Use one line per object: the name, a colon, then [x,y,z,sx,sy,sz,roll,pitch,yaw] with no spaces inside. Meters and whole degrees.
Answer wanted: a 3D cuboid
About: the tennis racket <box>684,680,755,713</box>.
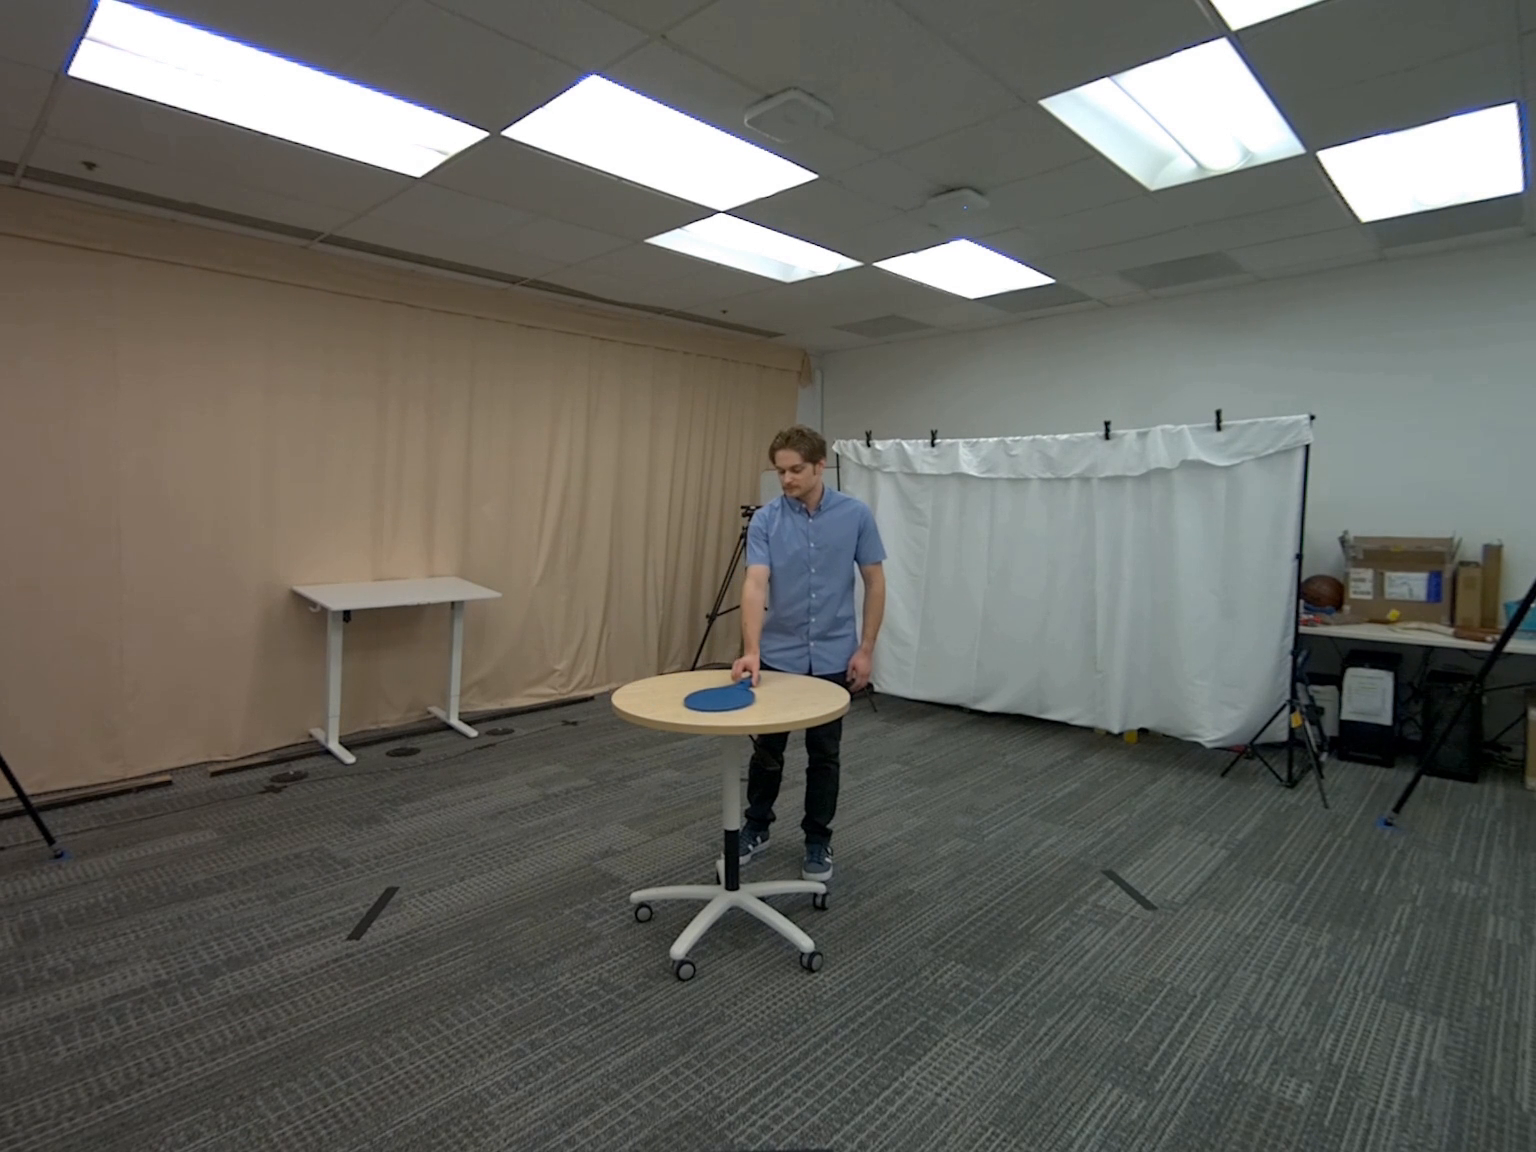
tennis racket: [-0.123,0.377,2.692,0.219,0.031,0.424,3,7,22]
